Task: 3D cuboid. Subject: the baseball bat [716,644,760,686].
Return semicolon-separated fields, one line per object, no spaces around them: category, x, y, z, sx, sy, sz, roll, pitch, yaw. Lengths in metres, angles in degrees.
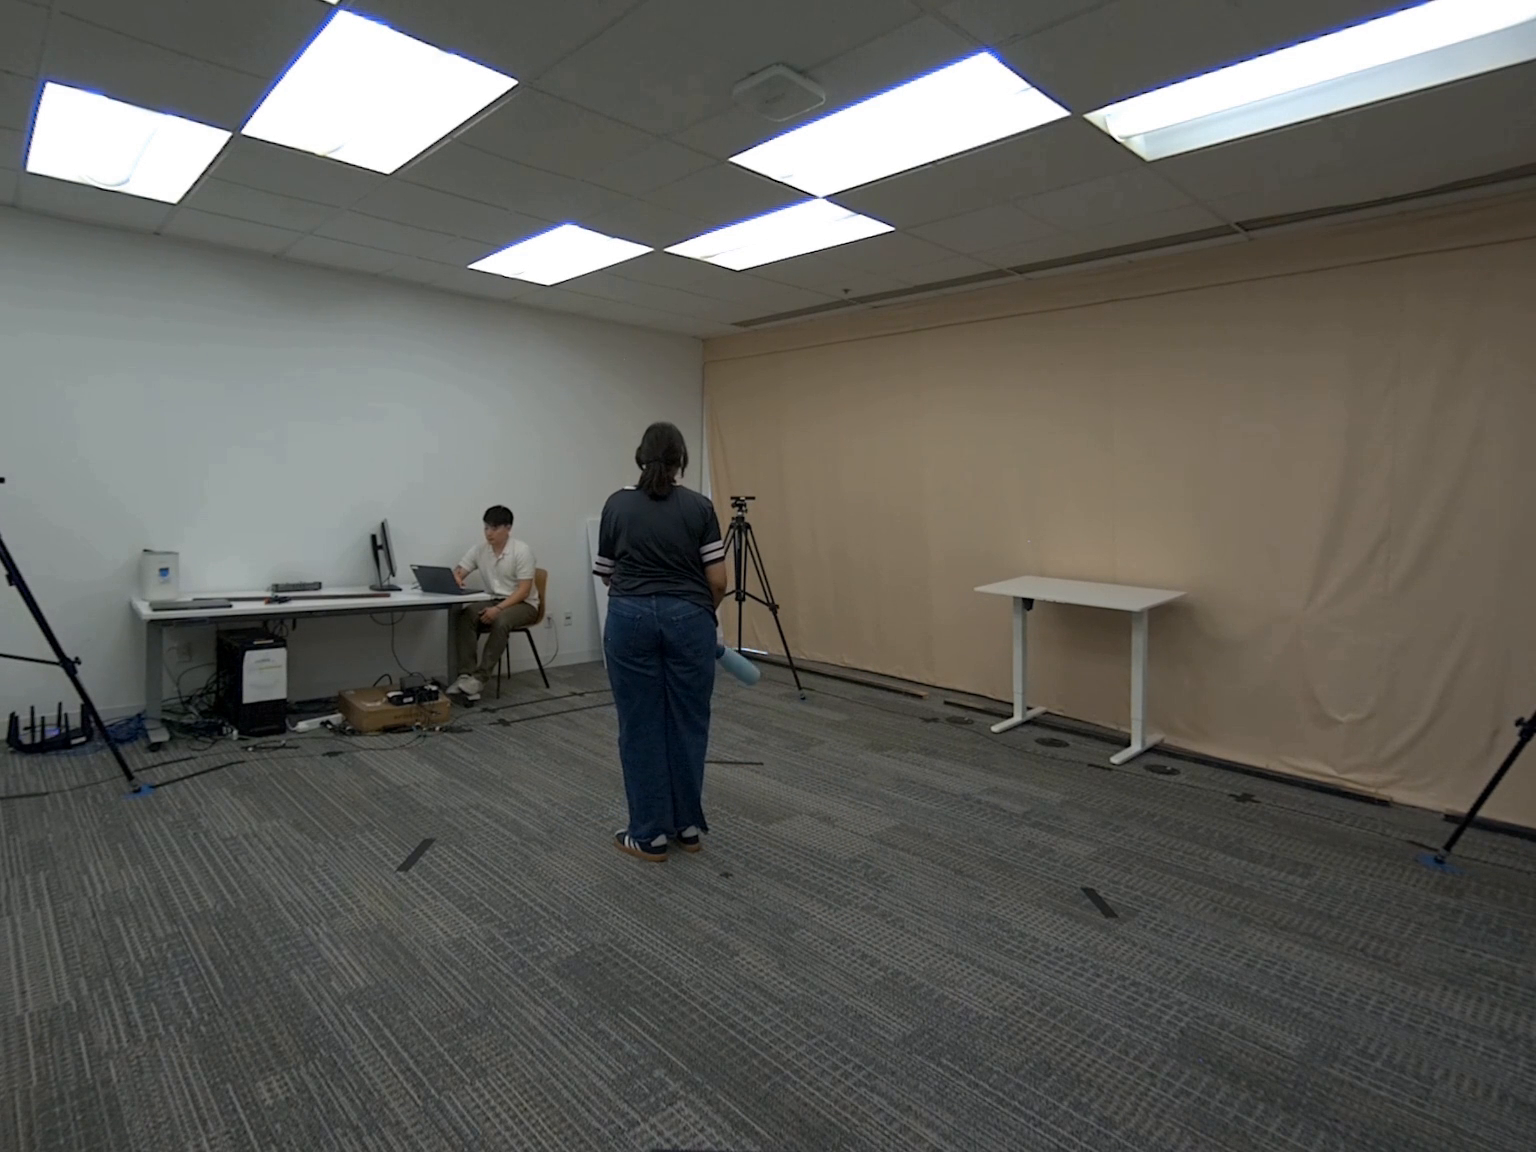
baseball bat;-0.227;0.304;3.571;0.091;0.089;0.526;6;-29;48
